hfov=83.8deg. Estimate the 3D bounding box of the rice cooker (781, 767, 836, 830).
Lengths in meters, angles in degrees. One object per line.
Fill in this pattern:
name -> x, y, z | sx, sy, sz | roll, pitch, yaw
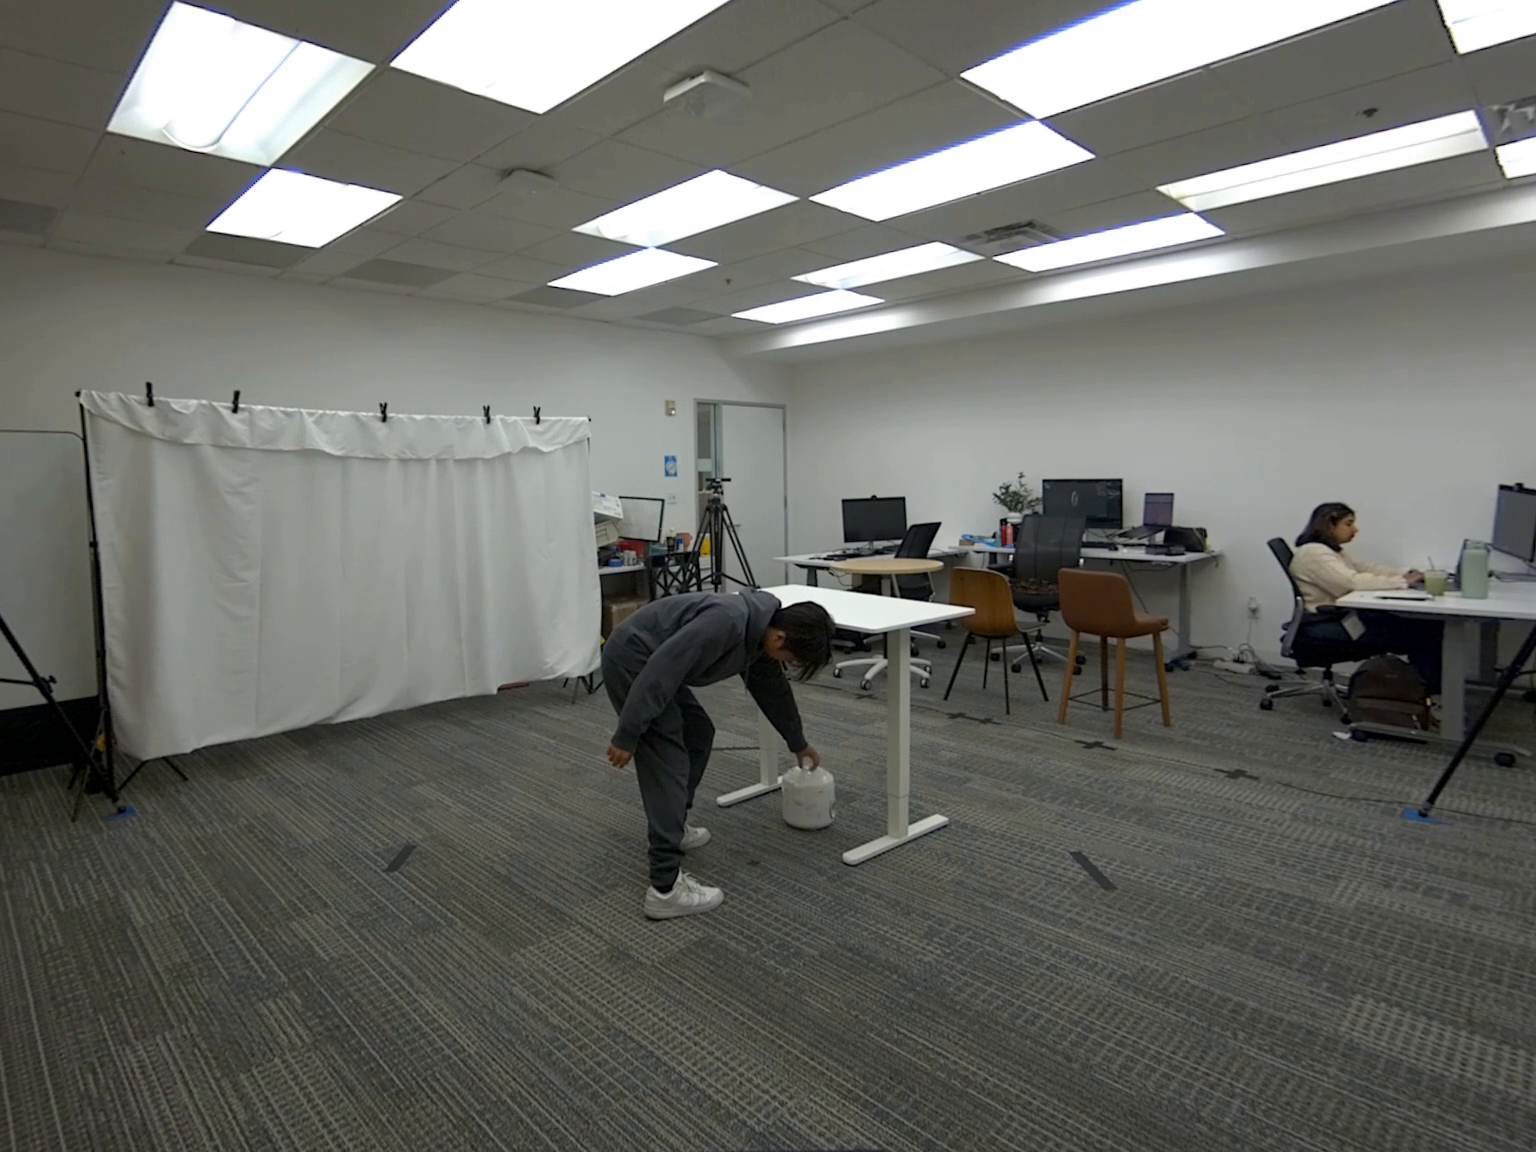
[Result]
rice cooker -> 0.165, 0.880, 3.459 | 0.223, 0.232, 0.216 | 1, 5, 28
